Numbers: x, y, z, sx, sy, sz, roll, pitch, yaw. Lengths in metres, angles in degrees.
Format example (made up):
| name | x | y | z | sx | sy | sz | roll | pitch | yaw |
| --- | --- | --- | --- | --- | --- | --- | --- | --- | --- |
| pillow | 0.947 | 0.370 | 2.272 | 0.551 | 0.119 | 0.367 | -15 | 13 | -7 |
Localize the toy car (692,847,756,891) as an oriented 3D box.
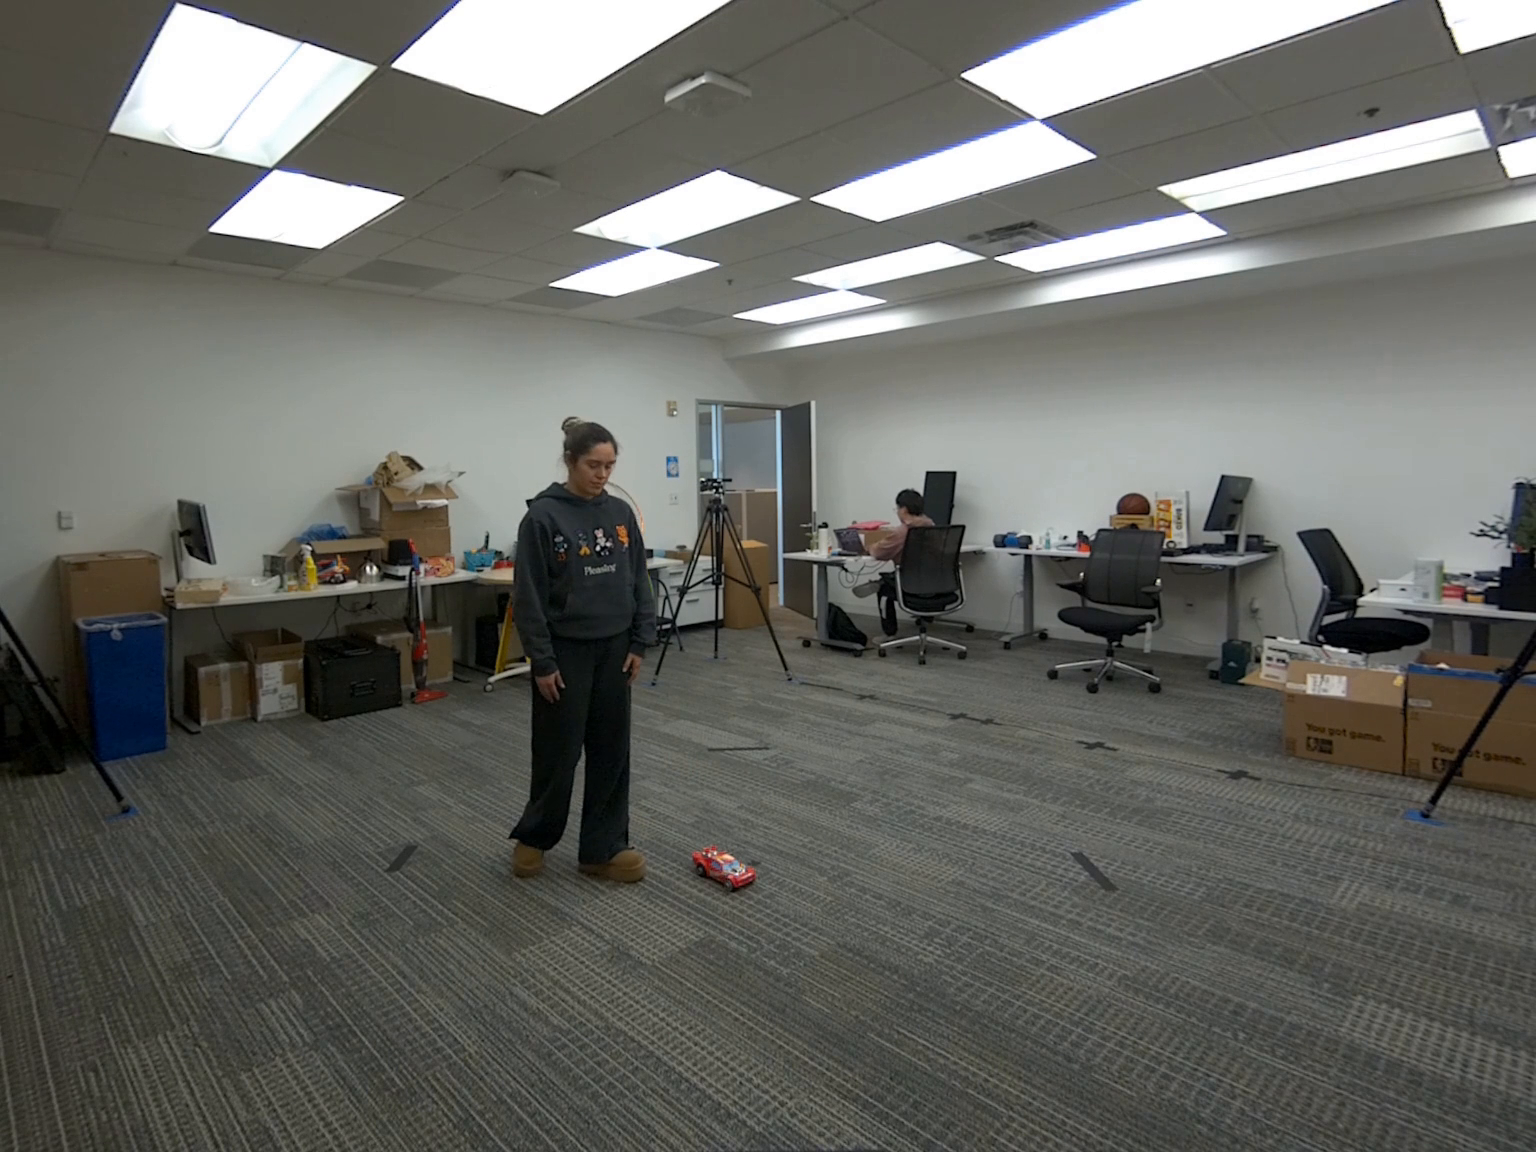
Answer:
| name | x | y | z | sx | sy | sz | roll | pitch | yaw |
| --- | --- | --- | --- | --- | --- | --- | --- | --- | --- |
| toy car | -0.162 | 1.024 | 2.981 | 0.127 | 0.082 | 0.264 | -6 | 18 | -42 |
